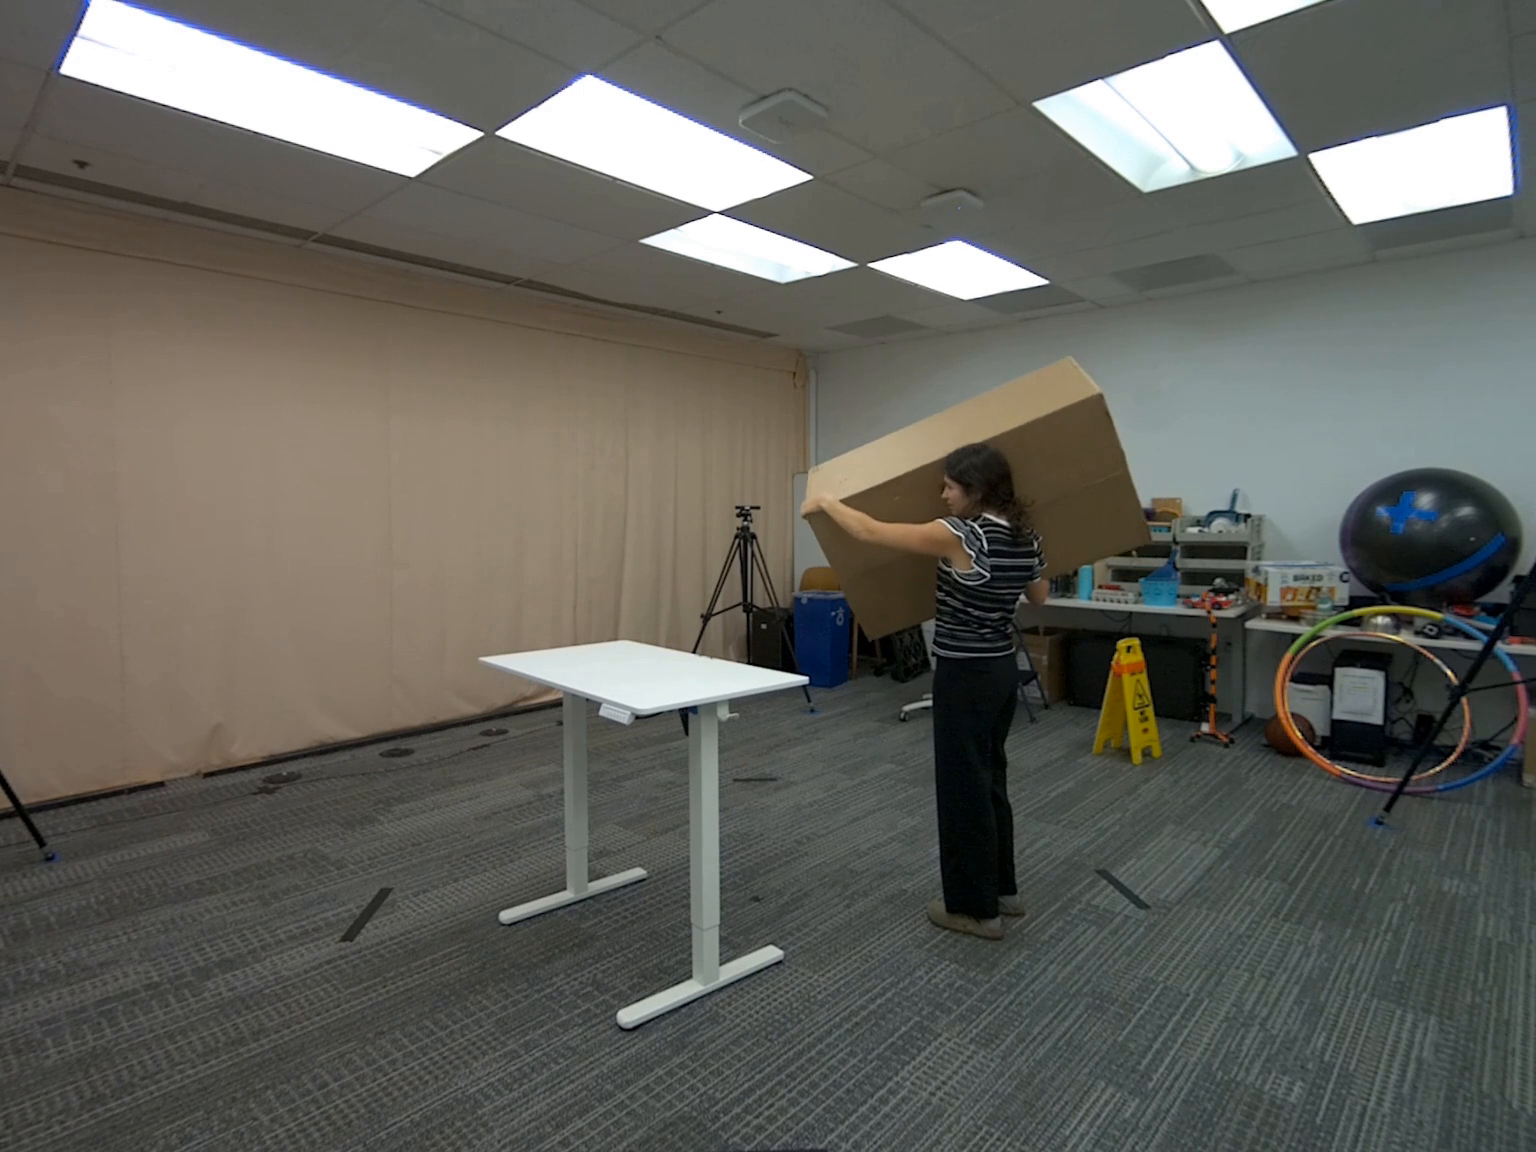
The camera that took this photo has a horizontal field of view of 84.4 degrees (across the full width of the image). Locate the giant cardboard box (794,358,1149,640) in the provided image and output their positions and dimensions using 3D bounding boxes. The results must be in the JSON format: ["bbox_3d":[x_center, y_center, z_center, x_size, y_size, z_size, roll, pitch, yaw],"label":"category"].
[{"bbox_3d":[0.723,-0.262,3.048,1.040,0.565,0.429,-22,23,19],"label":"giant cardboard box"}]
